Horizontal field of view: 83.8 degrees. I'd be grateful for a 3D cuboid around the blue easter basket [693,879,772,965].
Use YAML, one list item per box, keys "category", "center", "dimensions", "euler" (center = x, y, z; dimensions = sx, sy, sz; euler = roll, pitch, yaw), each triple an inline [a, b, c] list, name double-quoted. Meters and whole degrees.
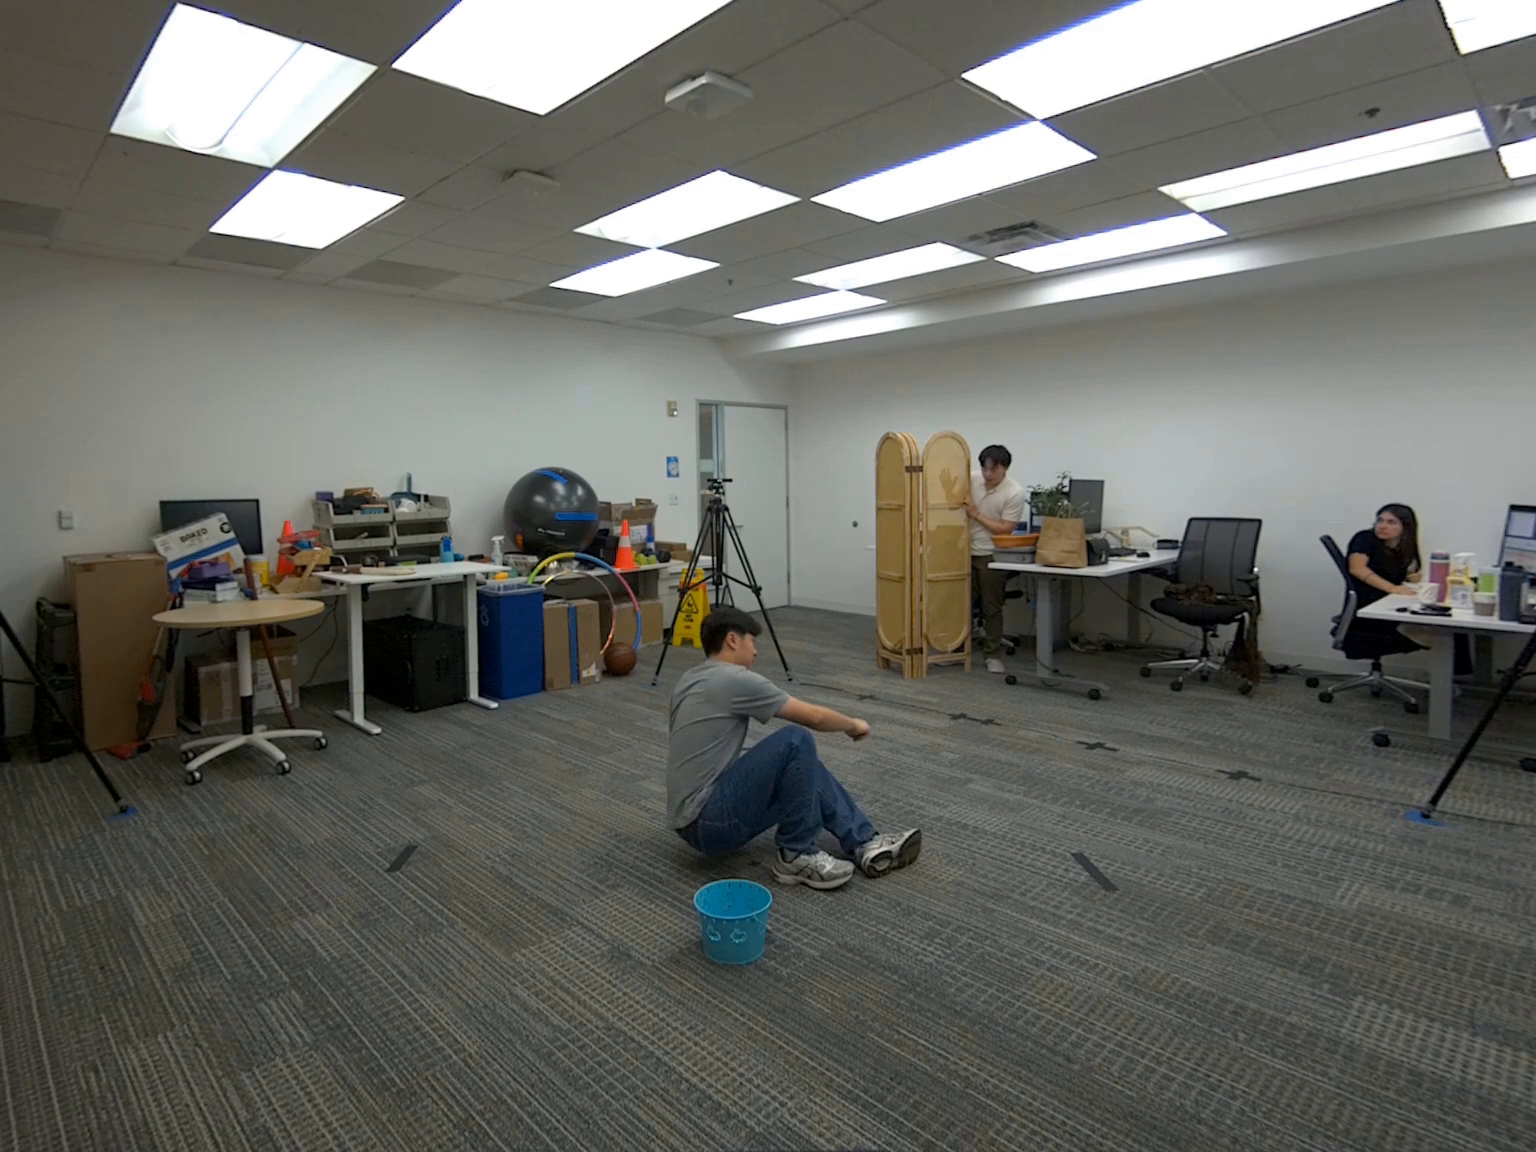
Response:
- category: "blue easter basket"
  center: [-0.095, 1.037, 2.546]
  dimensions: [0.243, 0.155, 0.245]
  euler: [-2, 5, -2]
